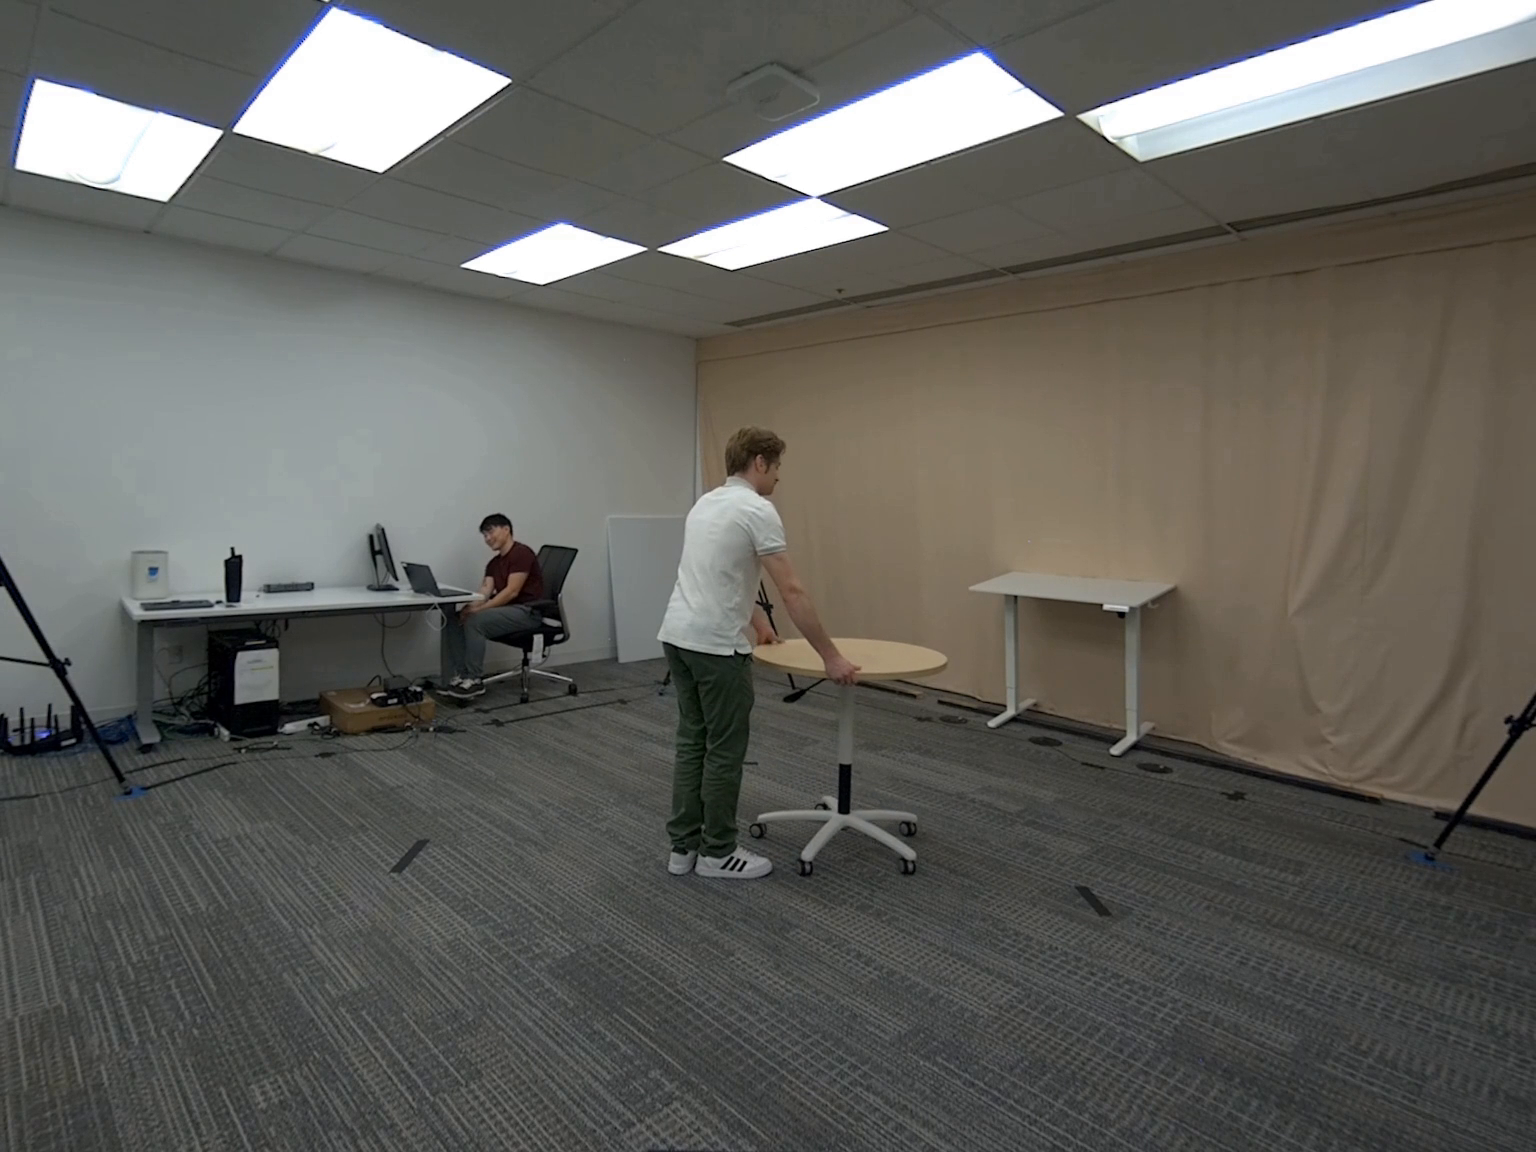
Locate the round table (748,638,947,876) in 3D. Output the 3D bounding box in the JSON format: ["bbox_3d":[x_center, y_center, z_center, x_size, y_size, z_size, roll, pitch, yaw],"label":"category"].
[{"bbox_3d":[0.299,0.702,3.366,0.763,0.792,0.766,1,4,-1],"label":"round table"}]
